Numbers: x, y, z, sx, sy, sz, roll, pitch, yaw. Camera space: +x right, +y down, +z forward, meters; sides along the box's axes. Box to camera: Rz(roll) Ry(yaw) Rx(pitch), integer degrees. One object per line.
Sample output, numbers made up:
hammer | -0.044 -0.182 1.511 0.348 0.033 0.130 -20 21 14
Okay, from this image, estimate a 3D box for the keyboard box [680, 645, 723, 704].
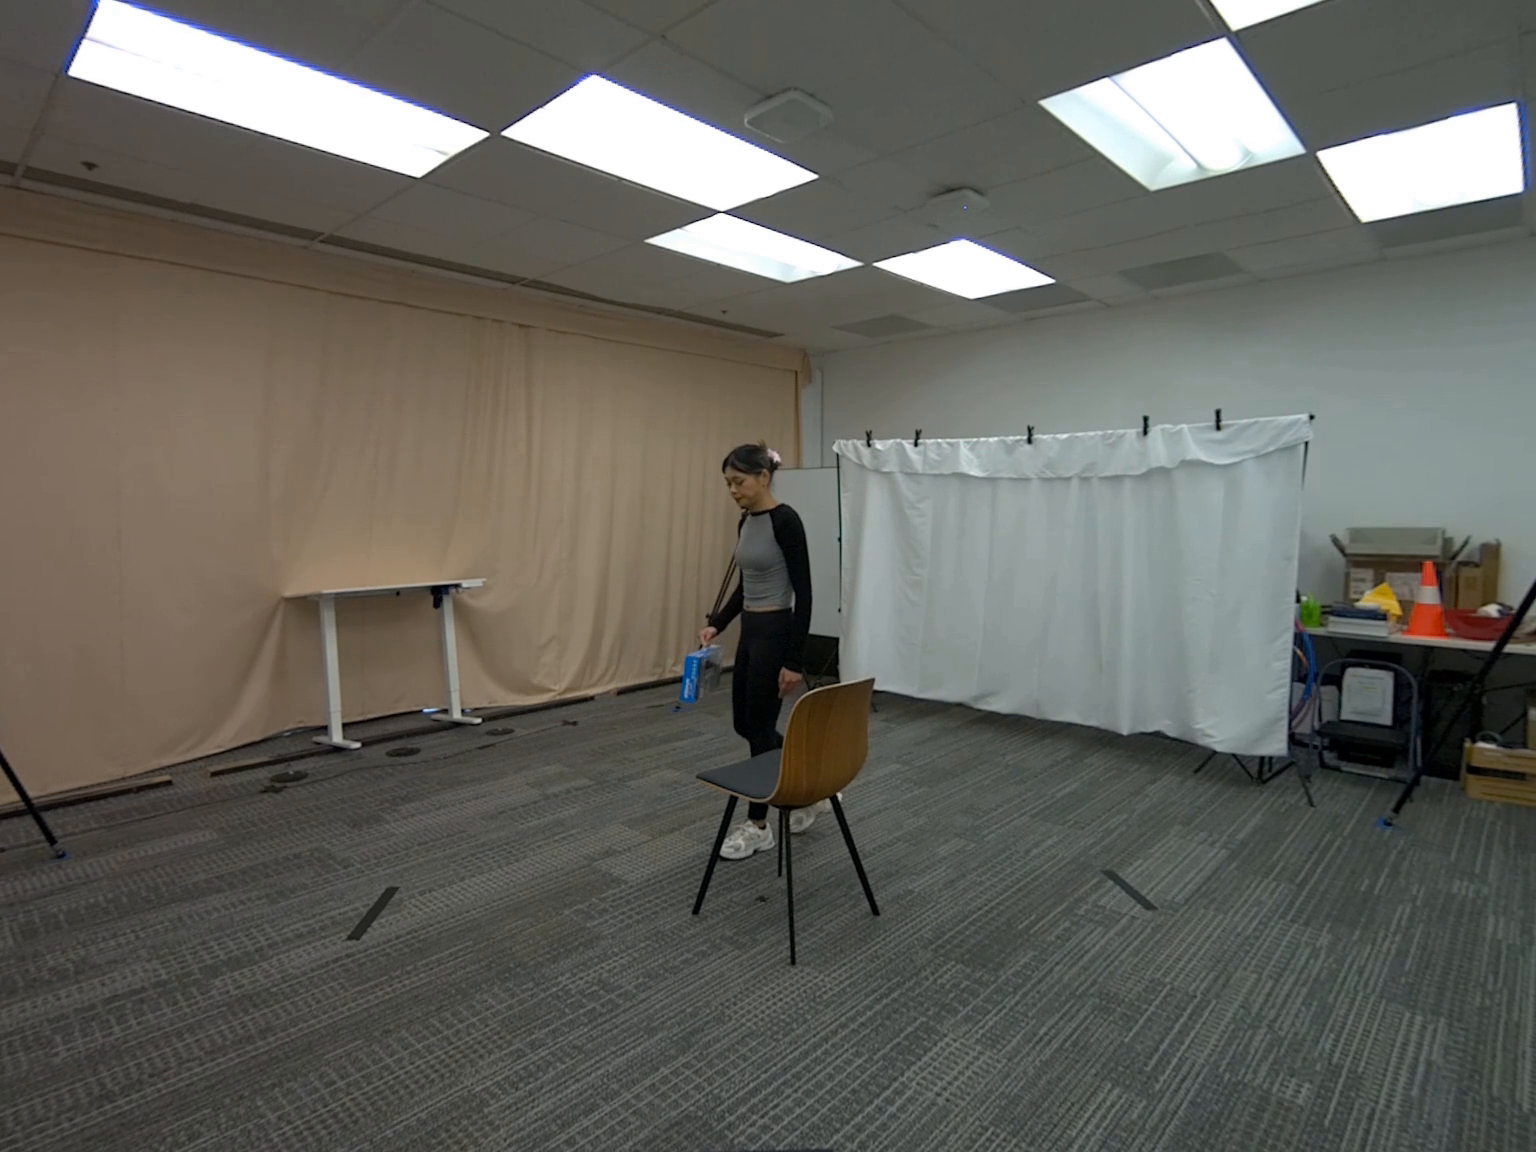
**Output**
keyboard box | -0.248 0.380 3.378 0.060 0.176 0.432 6 0 8
